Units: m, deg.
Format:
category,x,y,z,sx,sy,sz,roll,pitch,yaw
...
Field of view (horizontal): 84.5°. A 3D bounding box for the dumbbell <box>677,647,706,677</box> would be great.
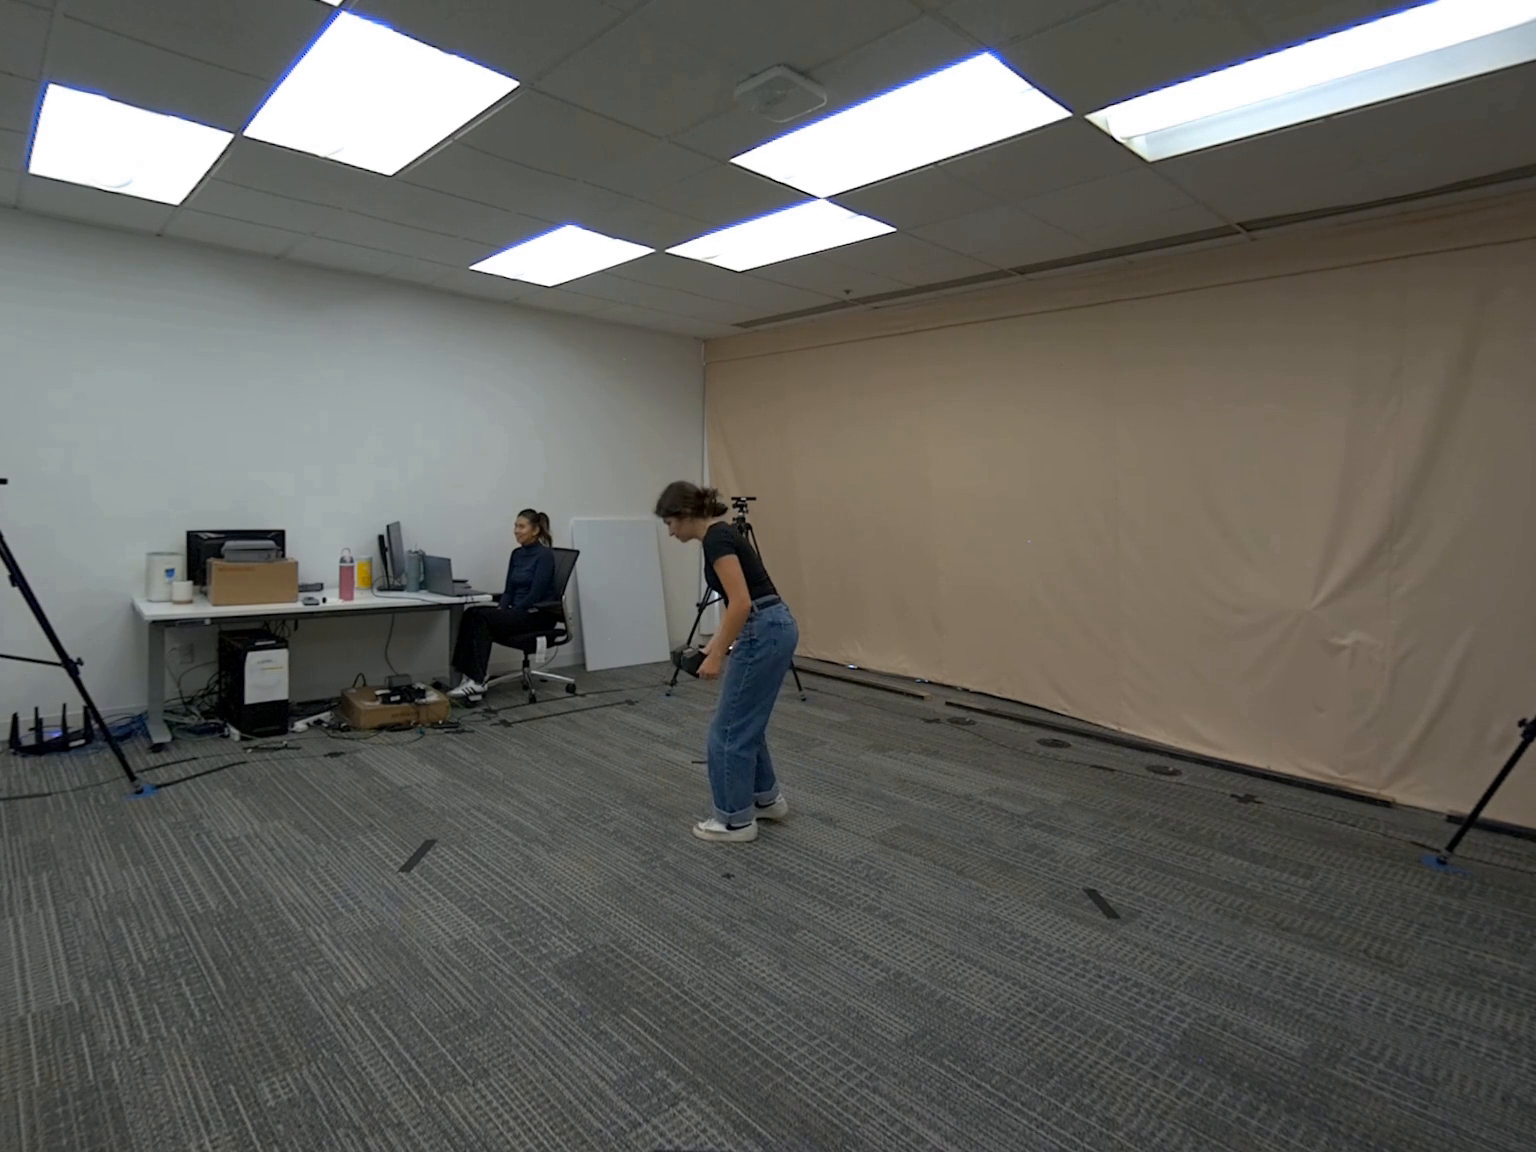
category,x,y,z,sx,sy,sz,roll,pitch,yaw
dumbbell,-0.342,0.375,3.655,0.122,0.108,0.297,-28,9,-14
